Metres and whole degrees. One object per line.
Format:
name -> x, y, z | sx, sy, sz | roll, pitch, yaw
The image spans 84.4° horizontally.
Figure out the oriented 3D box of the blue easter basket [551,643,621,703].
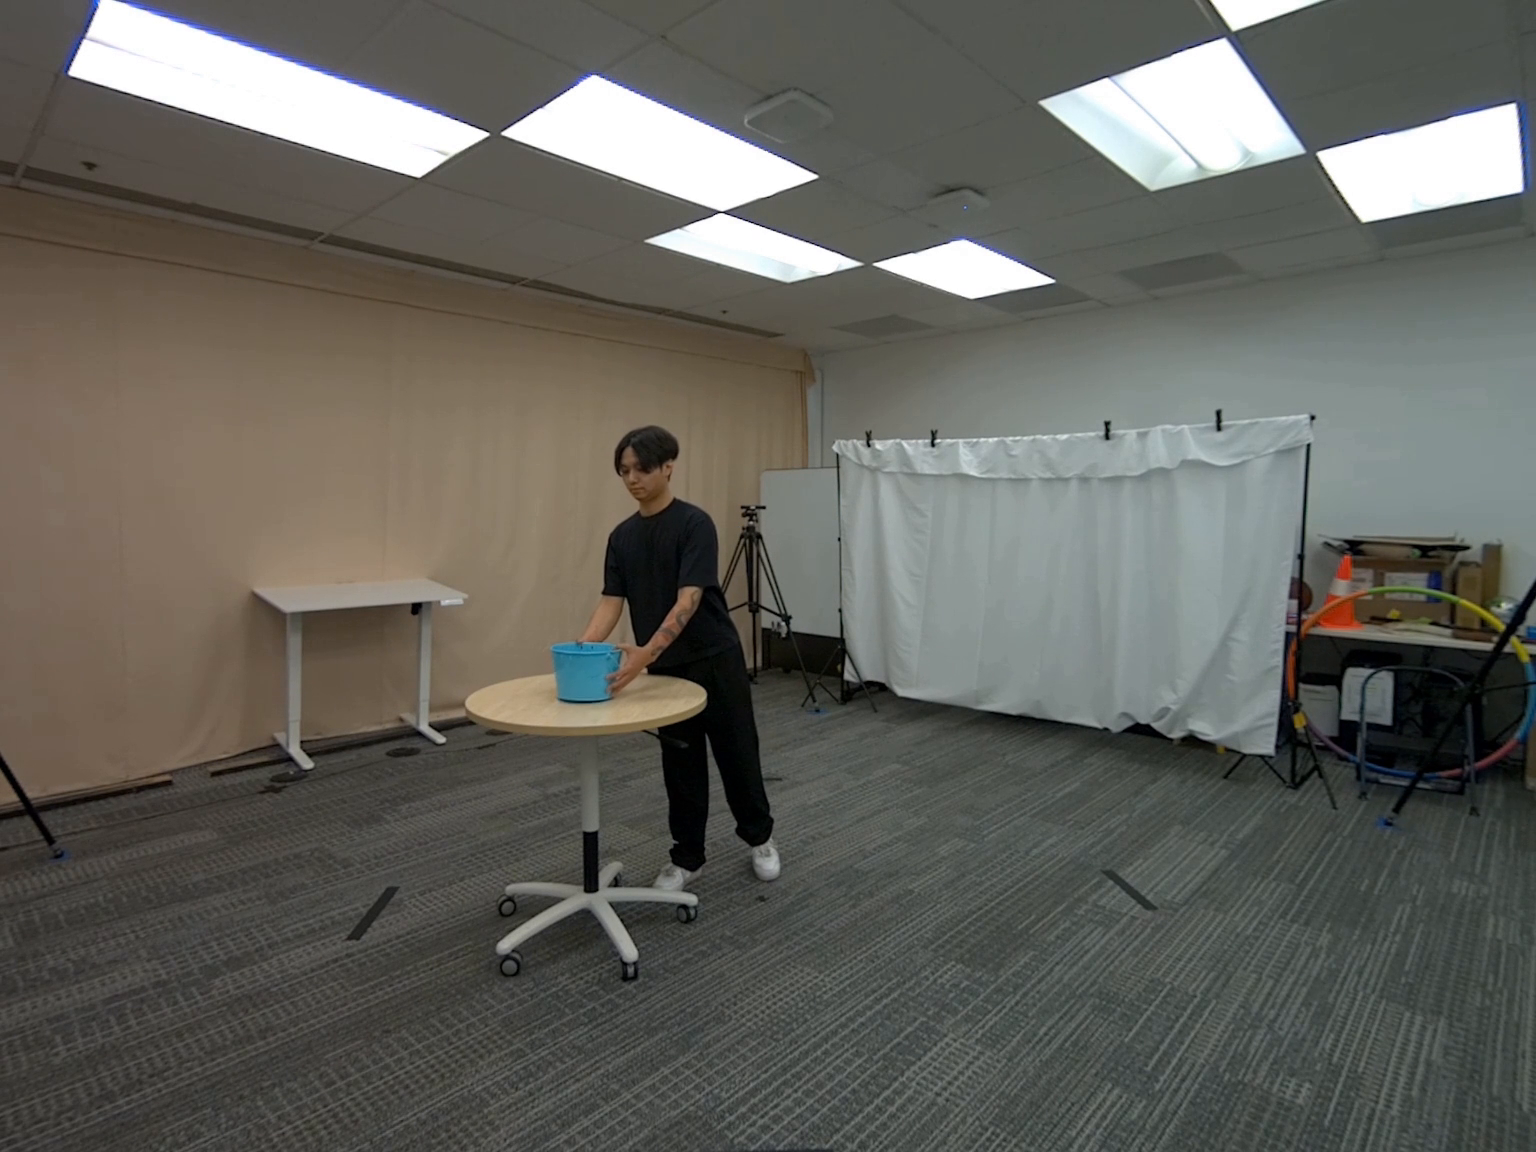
blue easter basket -> -0.577, 0.303, 2.684 | 0.243, 0.155, 0.244 | 1, 3, -2
